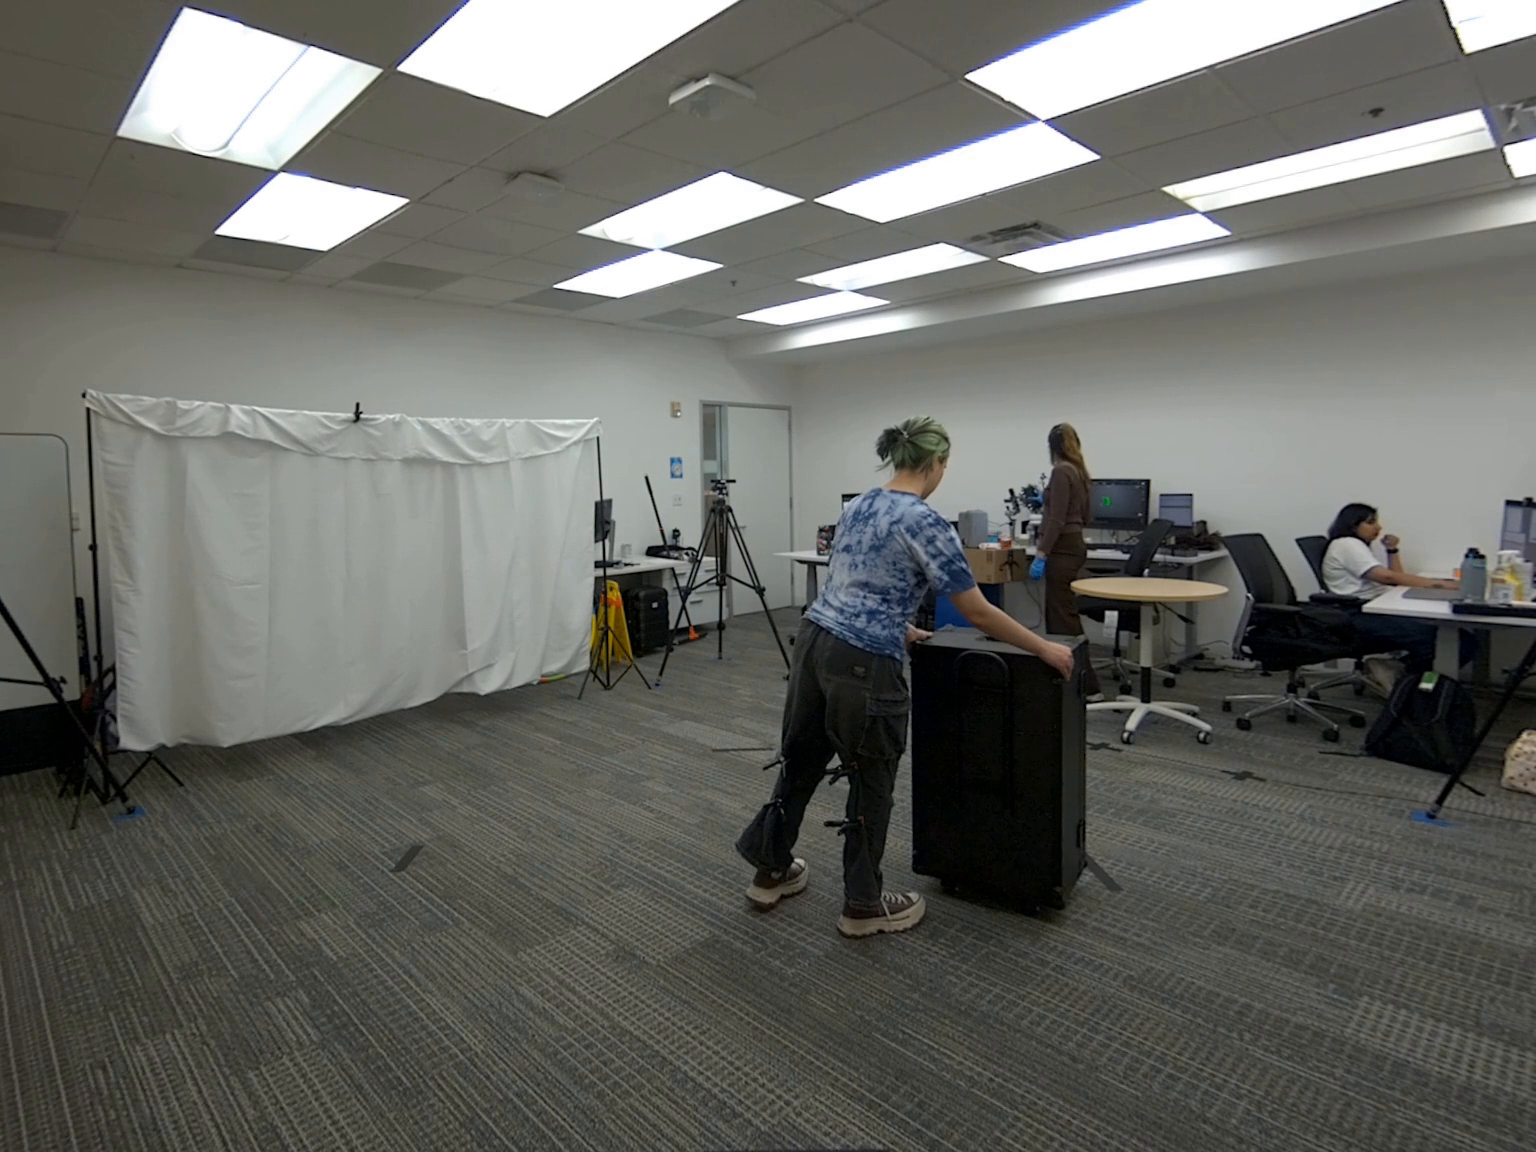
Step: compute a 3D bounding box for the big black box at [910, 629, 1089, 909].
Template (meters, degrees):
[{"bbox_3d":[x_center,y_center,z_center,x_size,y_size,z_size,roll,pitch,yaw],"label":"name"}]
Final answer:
[{"bbox_3d":[0.775,0.637,2.844,0.536,0.858,0.387,2,6,34],"label":"big black box"}]
